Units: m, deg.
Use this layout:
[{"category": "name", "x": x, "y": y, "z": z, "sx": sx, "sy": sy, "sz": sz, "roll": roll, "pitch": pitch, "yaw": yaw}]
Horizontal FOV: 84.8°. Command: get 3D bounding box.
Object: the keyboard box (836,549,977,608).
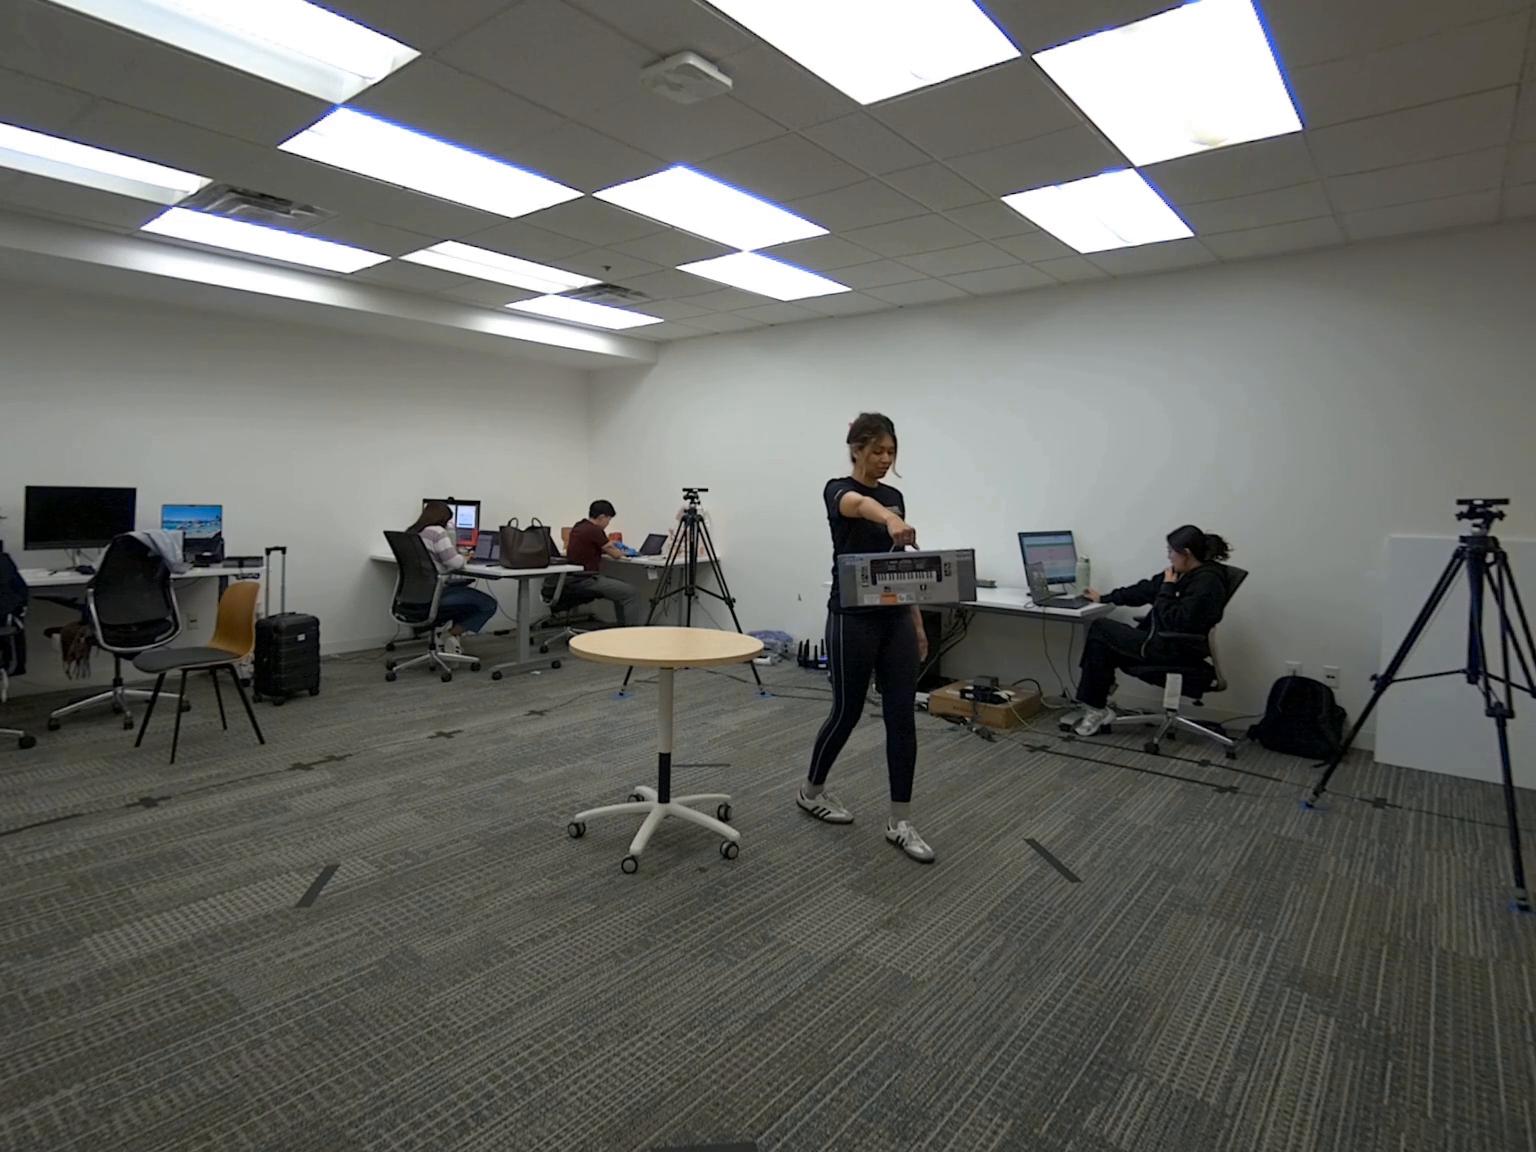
[{"category": "keyboard box", "x": 0.454, "y": 0.001, "z": 2.812, "sx": 0.441, "sy": 0.175, "sz": 0.059, "roll": -3, "pitch": 4, "yaw": 11}]
